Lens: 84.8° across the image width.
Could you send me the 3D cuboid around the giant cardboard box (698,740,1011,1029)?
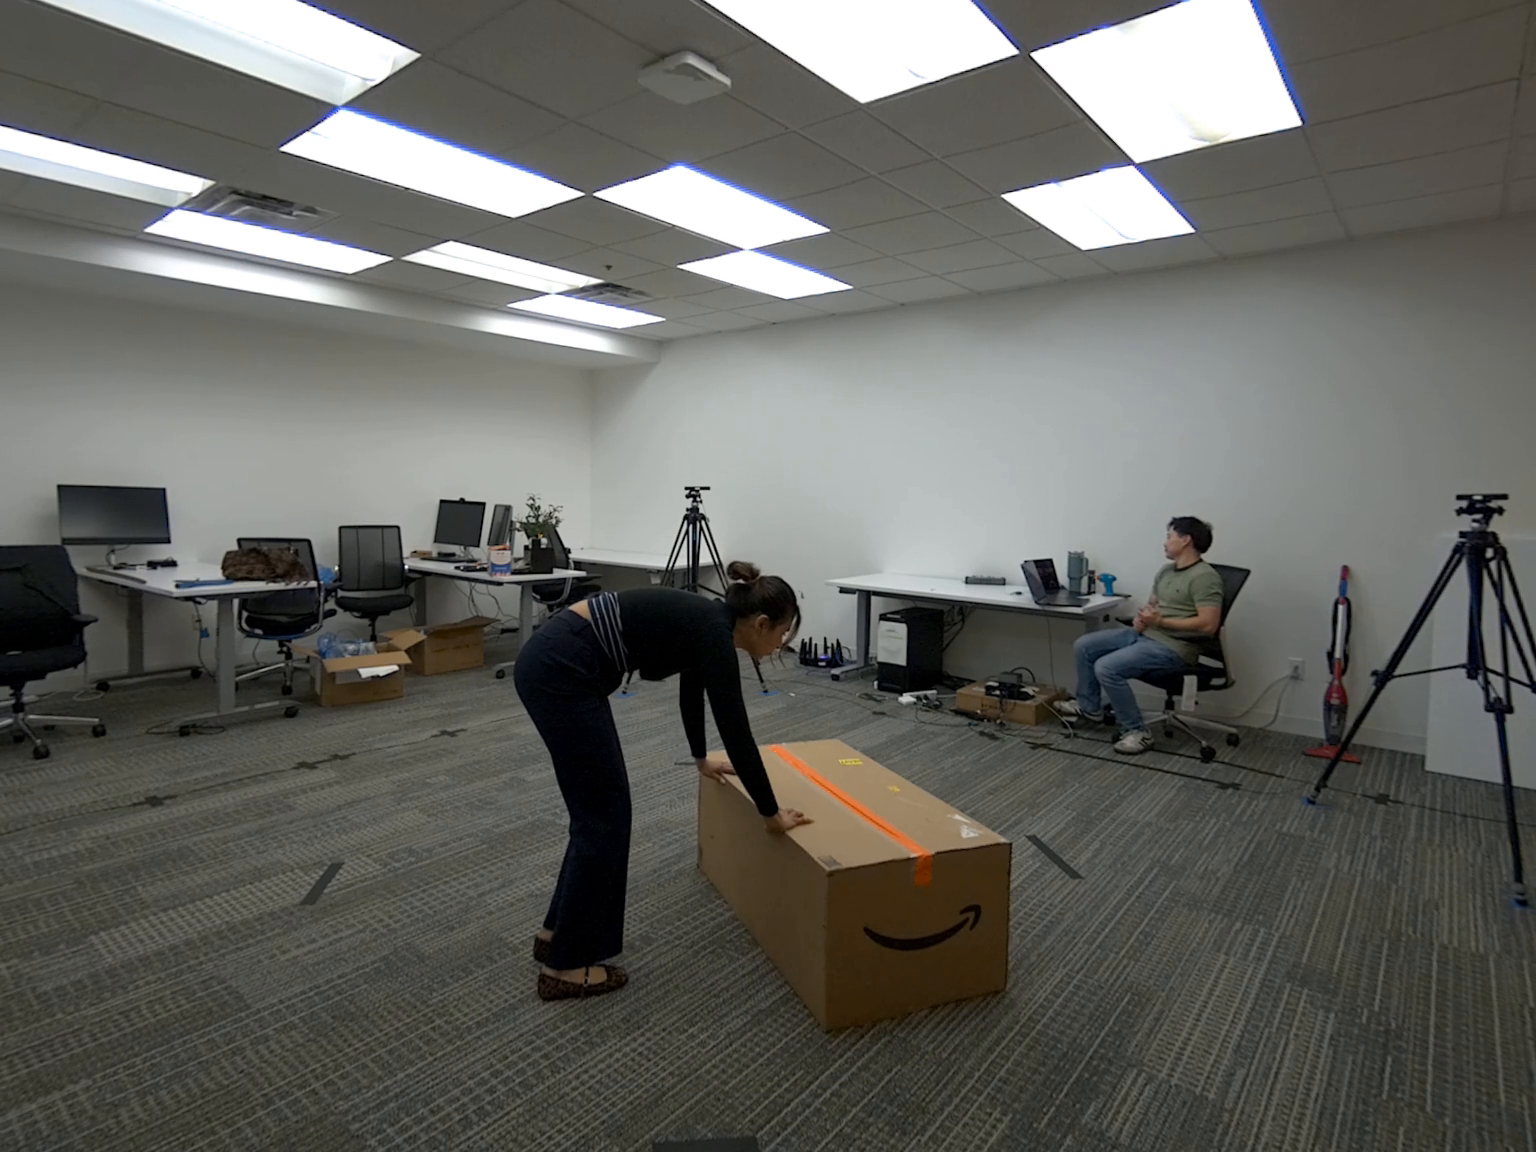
[{"bbox_3d":[0.202,0.893,2.744,0.565,0.424,1.053,-2,6,-23],"label":"giant cardboard box"}]
